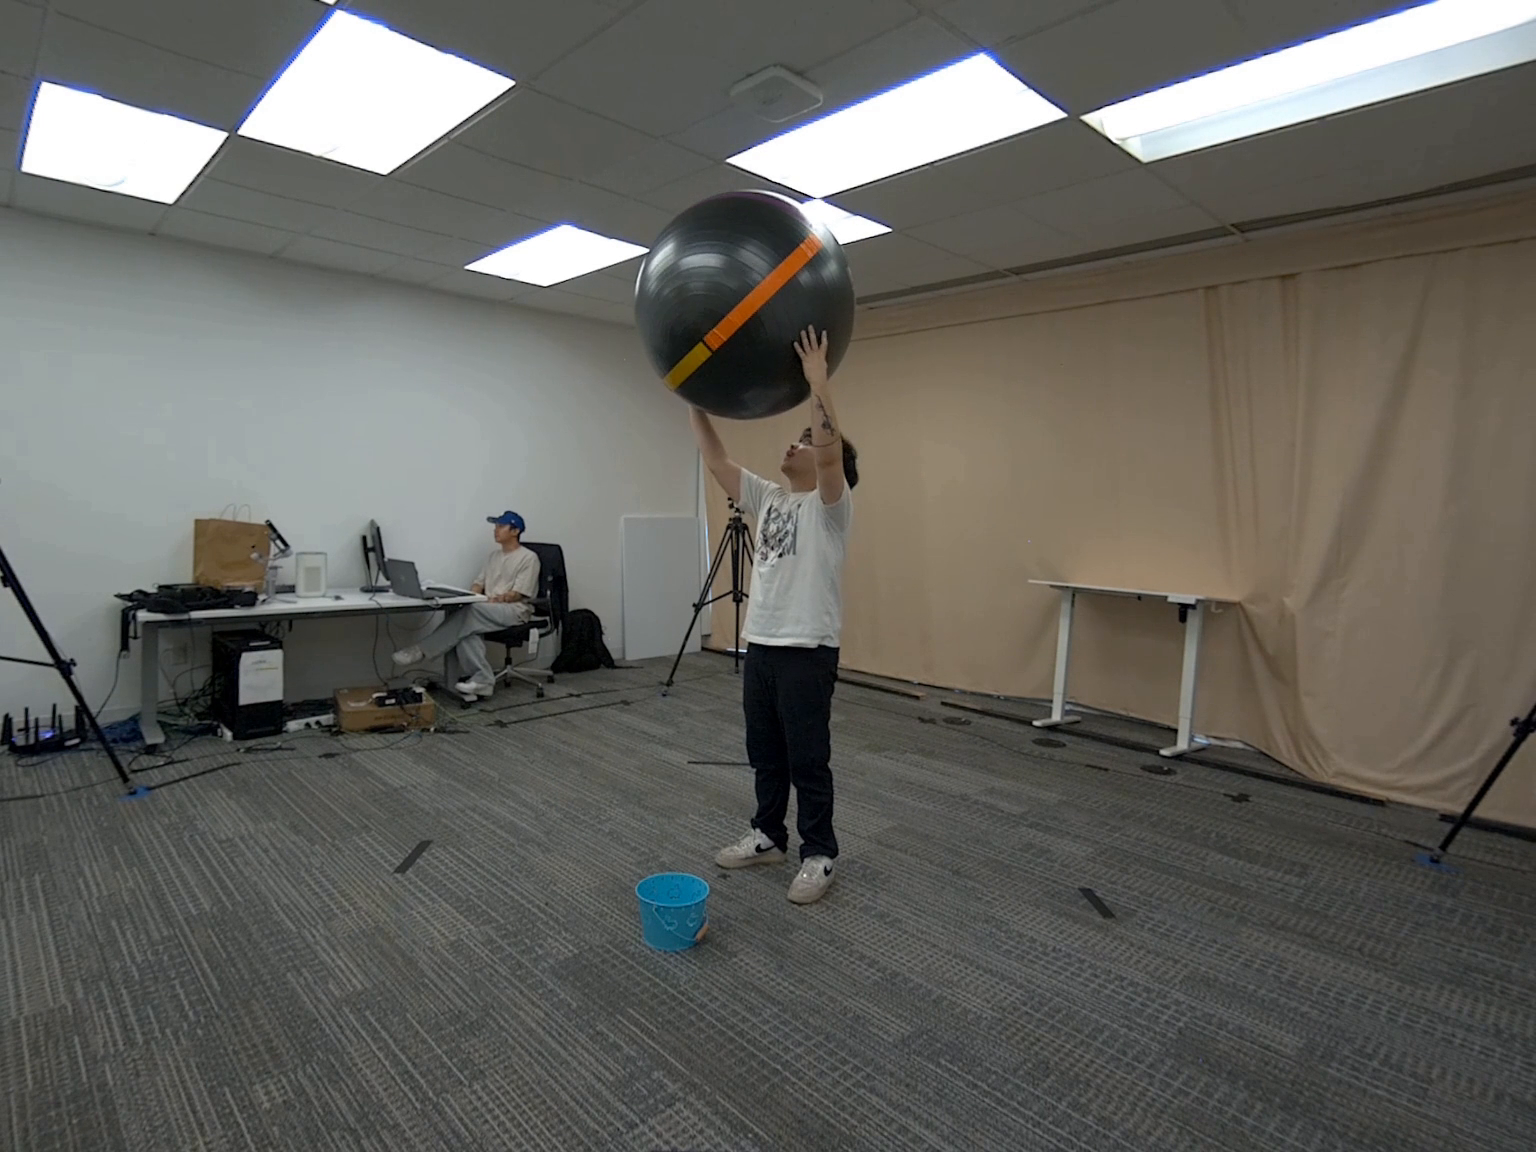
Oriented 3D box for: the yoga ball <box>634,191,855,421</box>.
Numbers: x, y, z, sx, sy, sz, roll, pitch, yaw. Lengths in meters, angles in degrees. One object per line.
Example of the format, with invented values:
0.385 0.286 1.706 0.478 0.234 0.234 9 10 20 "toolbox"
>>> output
-0.086 -0.920 2.903 0.757 0.756 0.760 1 4 -1 "yoga ball"
